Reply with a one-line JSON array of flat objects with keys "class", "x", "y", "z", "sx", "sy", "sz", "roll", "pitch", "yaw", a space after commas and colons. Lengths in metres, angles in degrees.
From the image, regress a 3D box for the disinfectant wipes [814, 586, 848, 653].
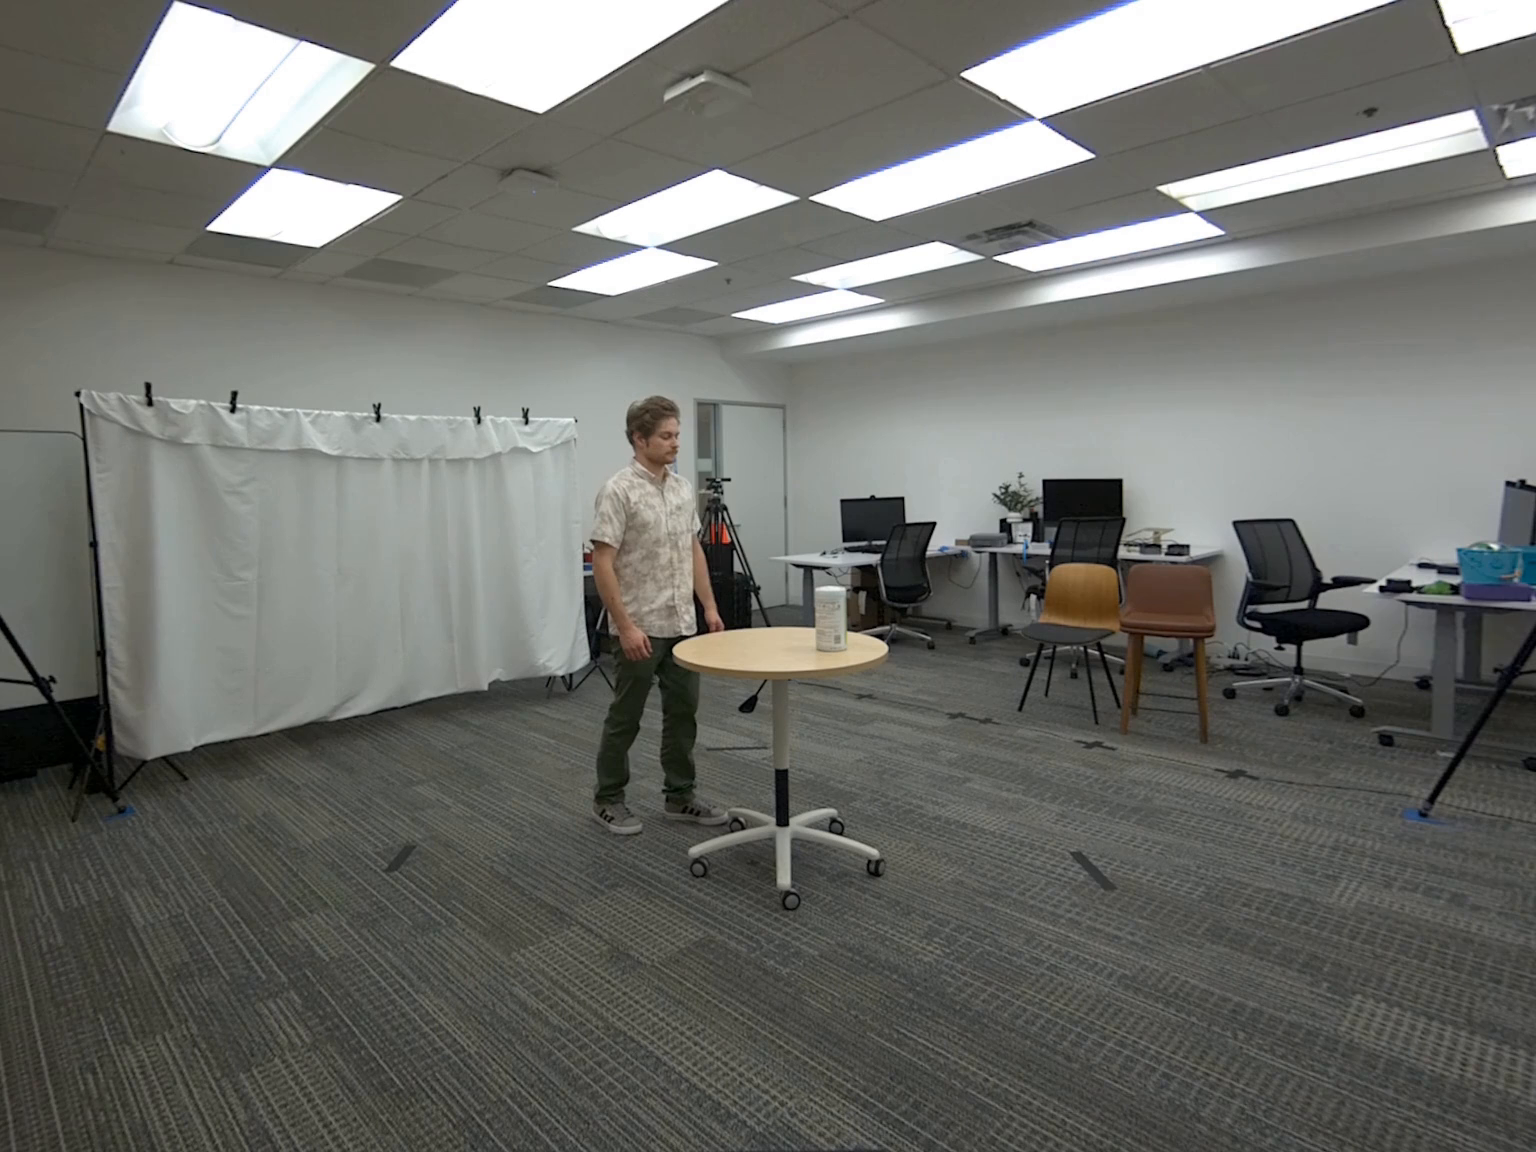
[{"class": "disinfectant wipes", "x": 0.222, "y": 0.149, "z": 2.987, "sx": 0.118, "sy": 0.216, "sz": 0.118, "roll": -2, "pitch": 5, "yaw": -1}]
